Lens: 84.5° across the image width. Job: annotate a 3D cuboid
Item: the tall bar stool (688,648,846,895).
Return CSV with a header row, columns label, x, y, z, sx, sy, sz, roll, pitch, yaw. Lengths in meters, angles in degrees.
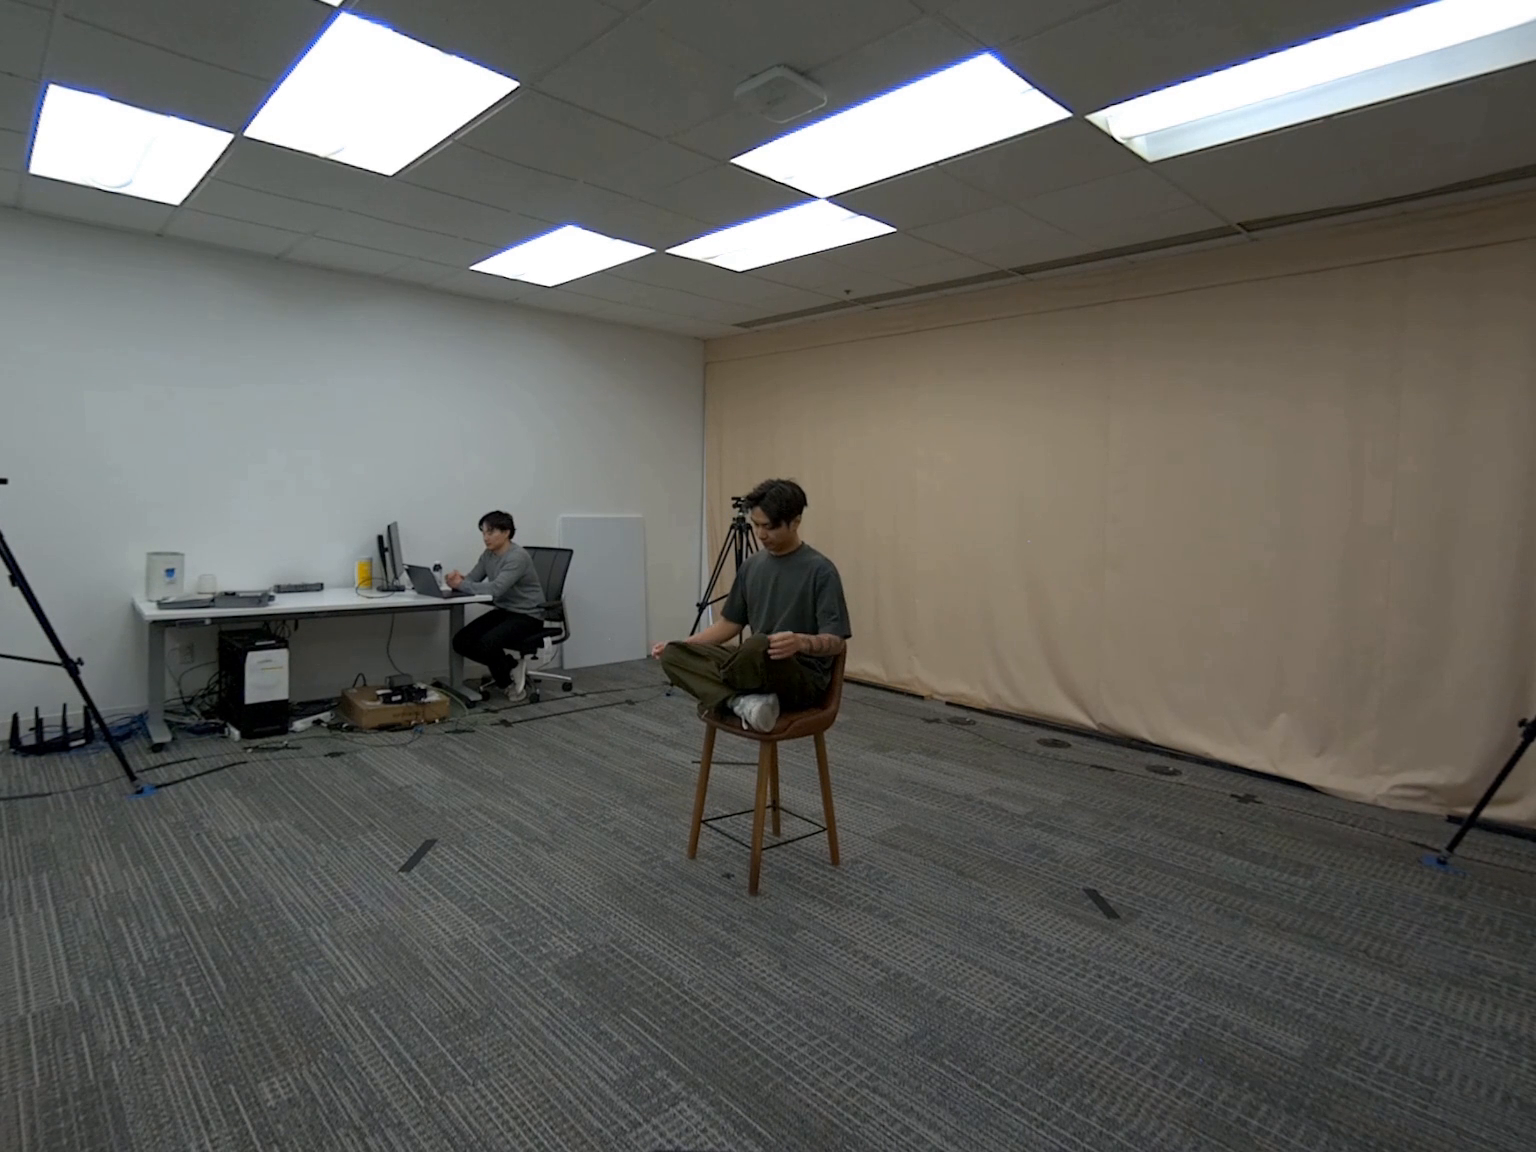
label,x,y,z,sx,sy,sz,roll,pitch,yaw
tall bar stool,0.003,0.664,3.221,0.456,0.889,0.468,2,2,-39
